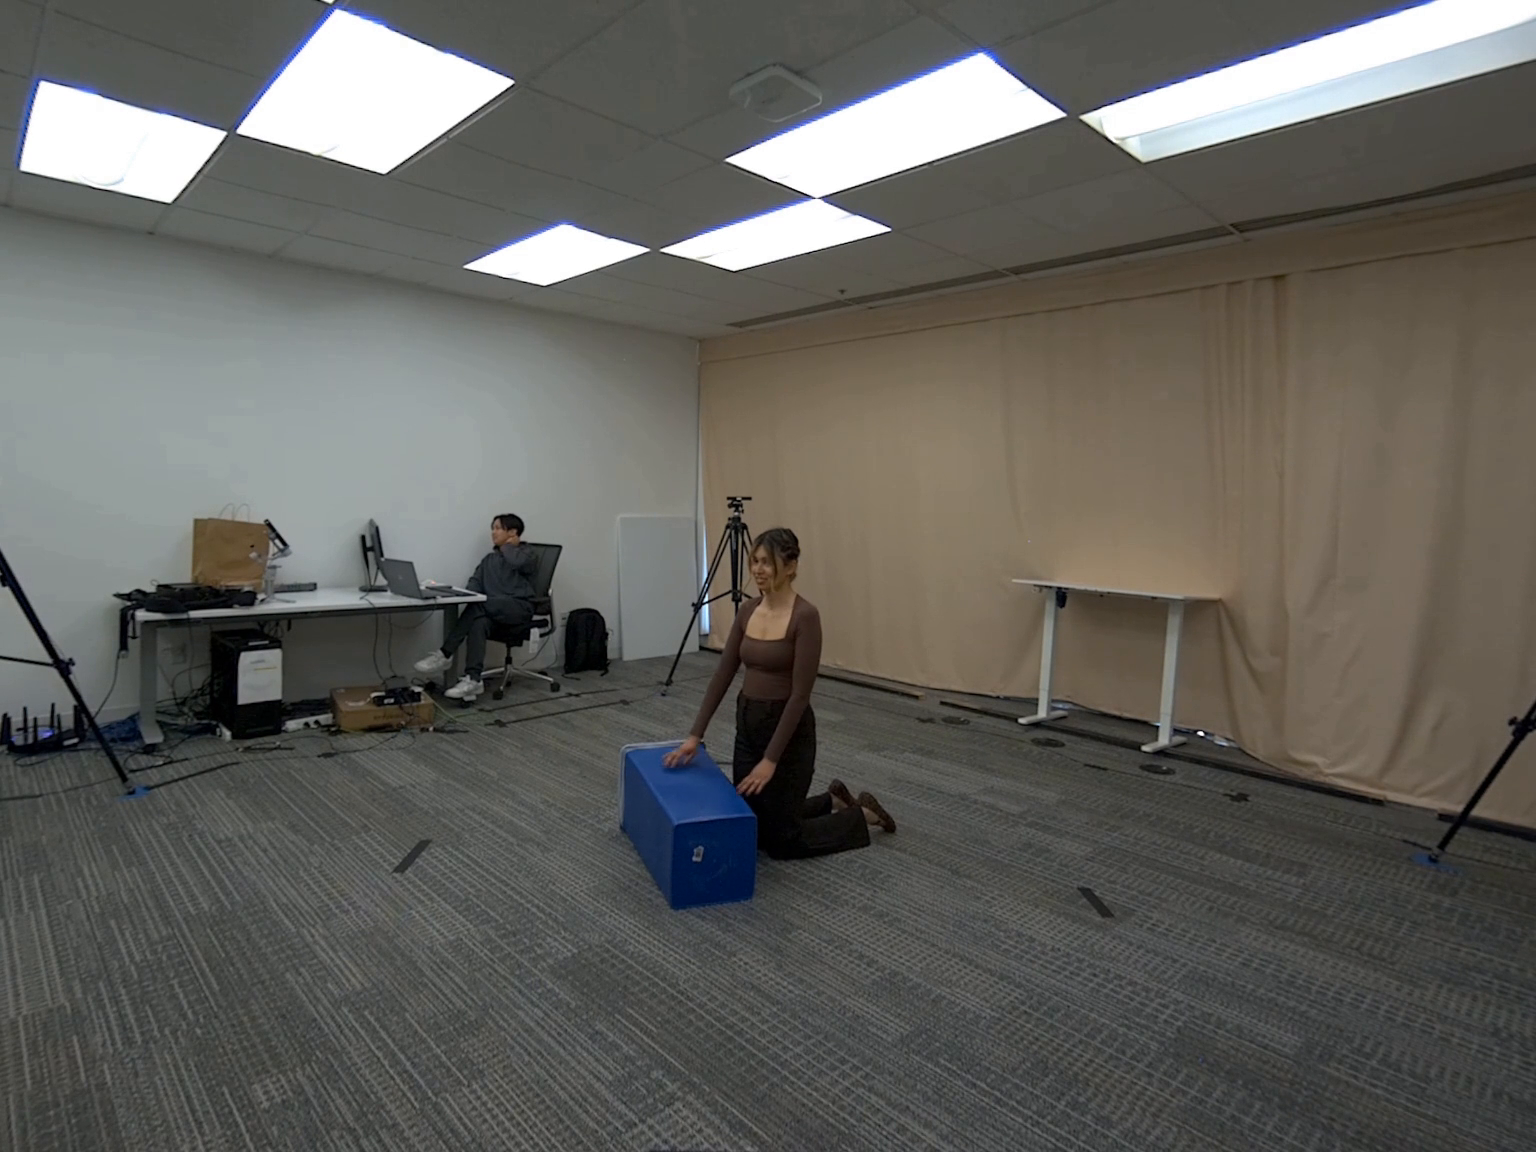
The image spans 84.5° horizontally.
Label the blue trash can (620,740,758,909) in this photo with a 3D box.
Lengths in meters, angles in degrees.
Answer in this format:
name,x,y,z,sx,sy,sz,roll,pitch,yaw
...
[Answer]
name,x,y,z,sx,sy,sz,roll,pitch,yaw
blue trash can,-0.321,0.918,3.196,0.368,0.376,0.727,1,6,-21
